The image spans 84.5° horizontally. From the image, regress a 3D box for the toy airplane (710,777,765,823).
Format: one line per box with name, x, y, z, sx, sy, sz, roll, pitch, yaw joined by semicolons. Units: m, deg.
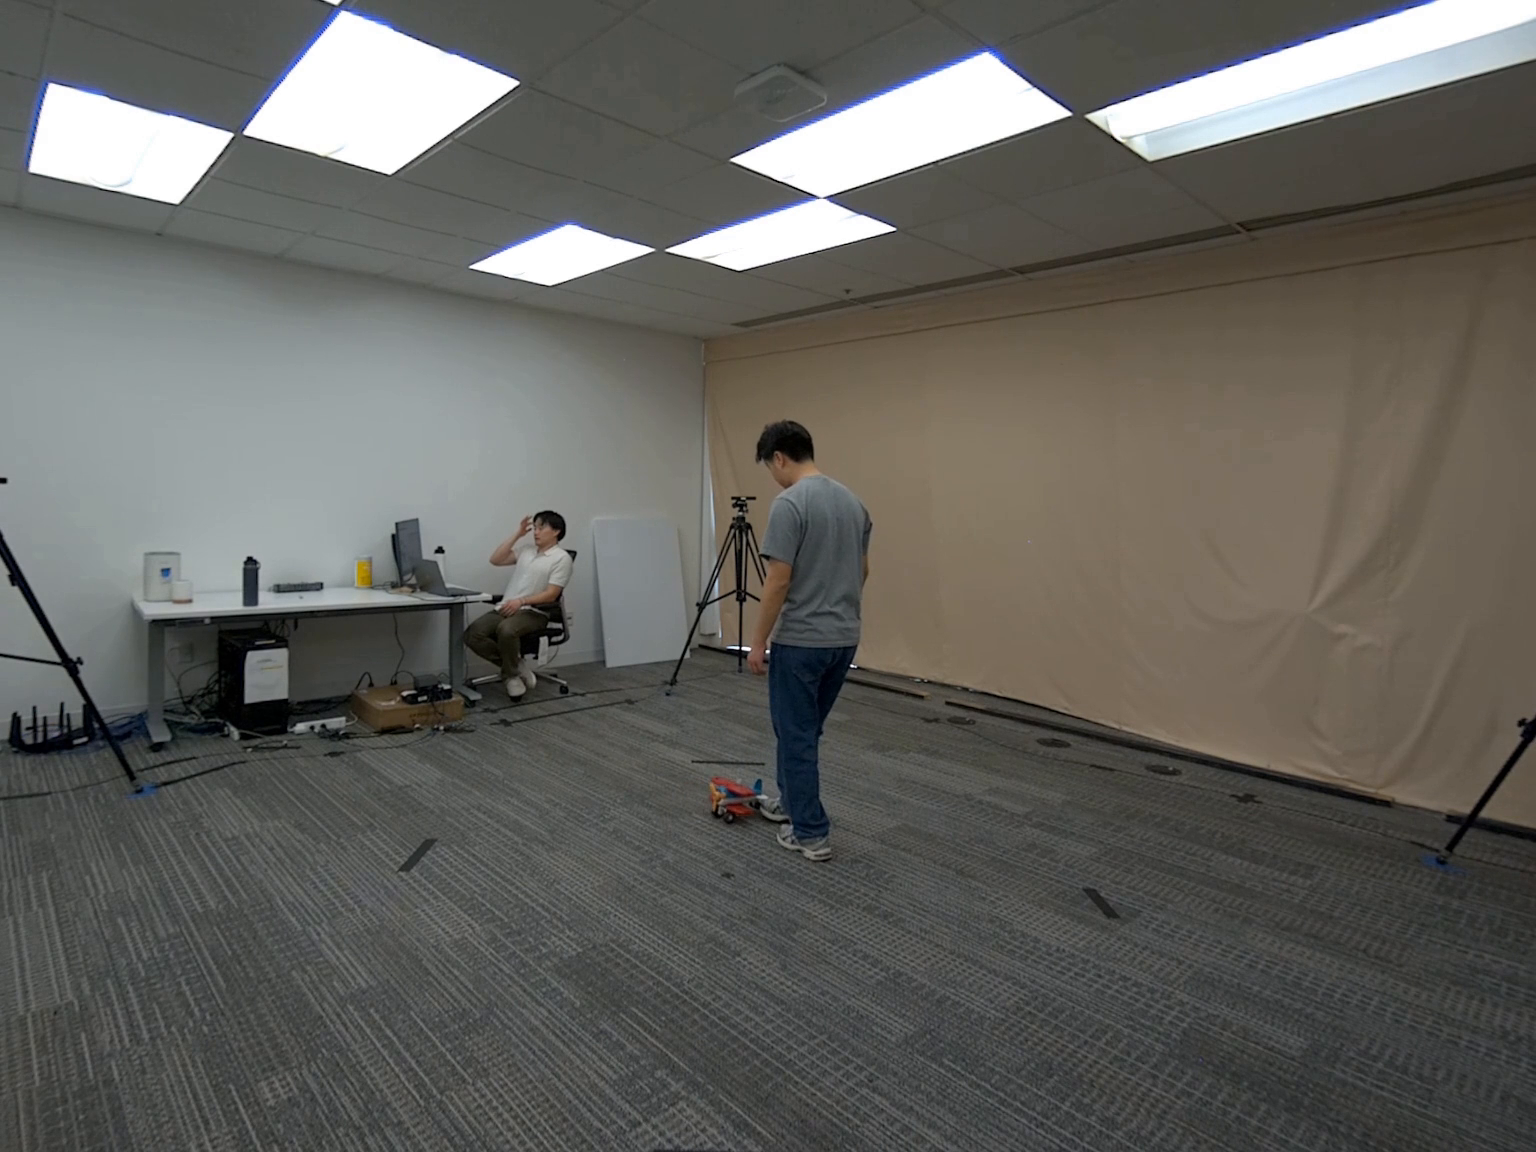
toy airplane;-0.147;0.971;3.697;0.255;0.155;0.256;1;10;24
